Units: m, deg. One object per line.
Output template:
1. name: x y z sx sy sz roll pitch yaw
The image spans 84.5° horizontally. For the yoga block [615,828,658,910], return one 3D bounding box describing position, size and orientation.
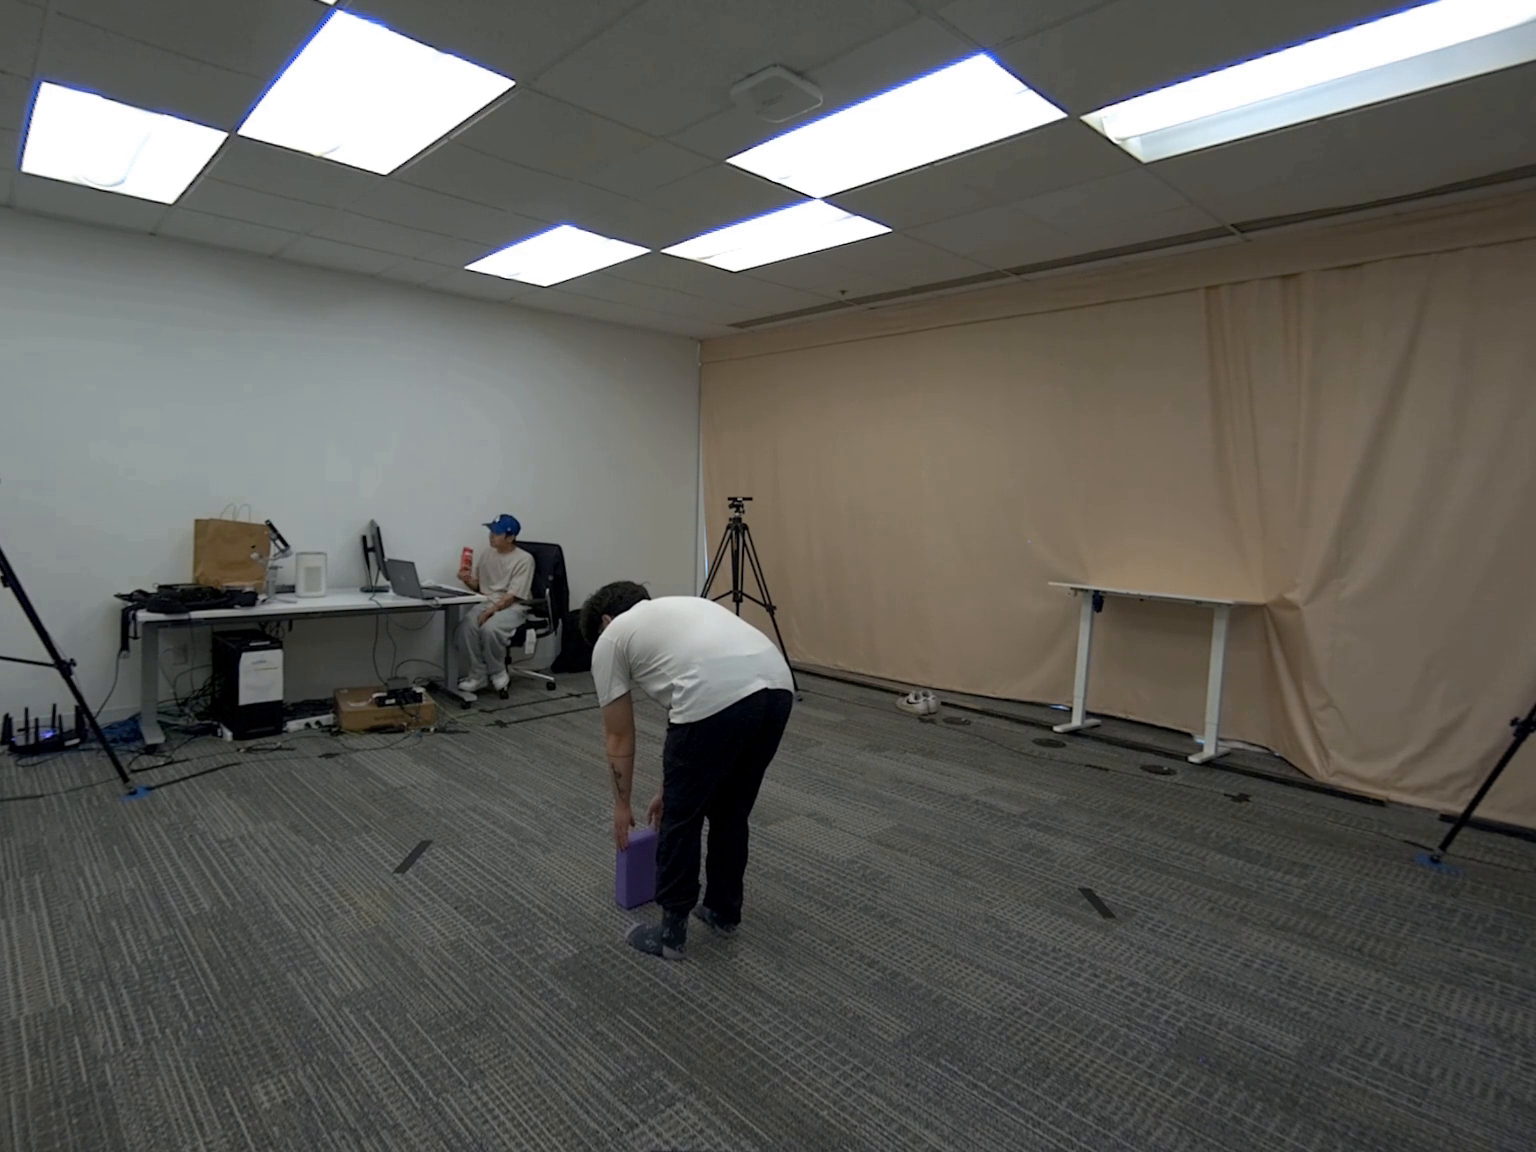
1. yoga block: -0.454 1.011 2.889 0.146 0.228 0.078 -4 8 -44
